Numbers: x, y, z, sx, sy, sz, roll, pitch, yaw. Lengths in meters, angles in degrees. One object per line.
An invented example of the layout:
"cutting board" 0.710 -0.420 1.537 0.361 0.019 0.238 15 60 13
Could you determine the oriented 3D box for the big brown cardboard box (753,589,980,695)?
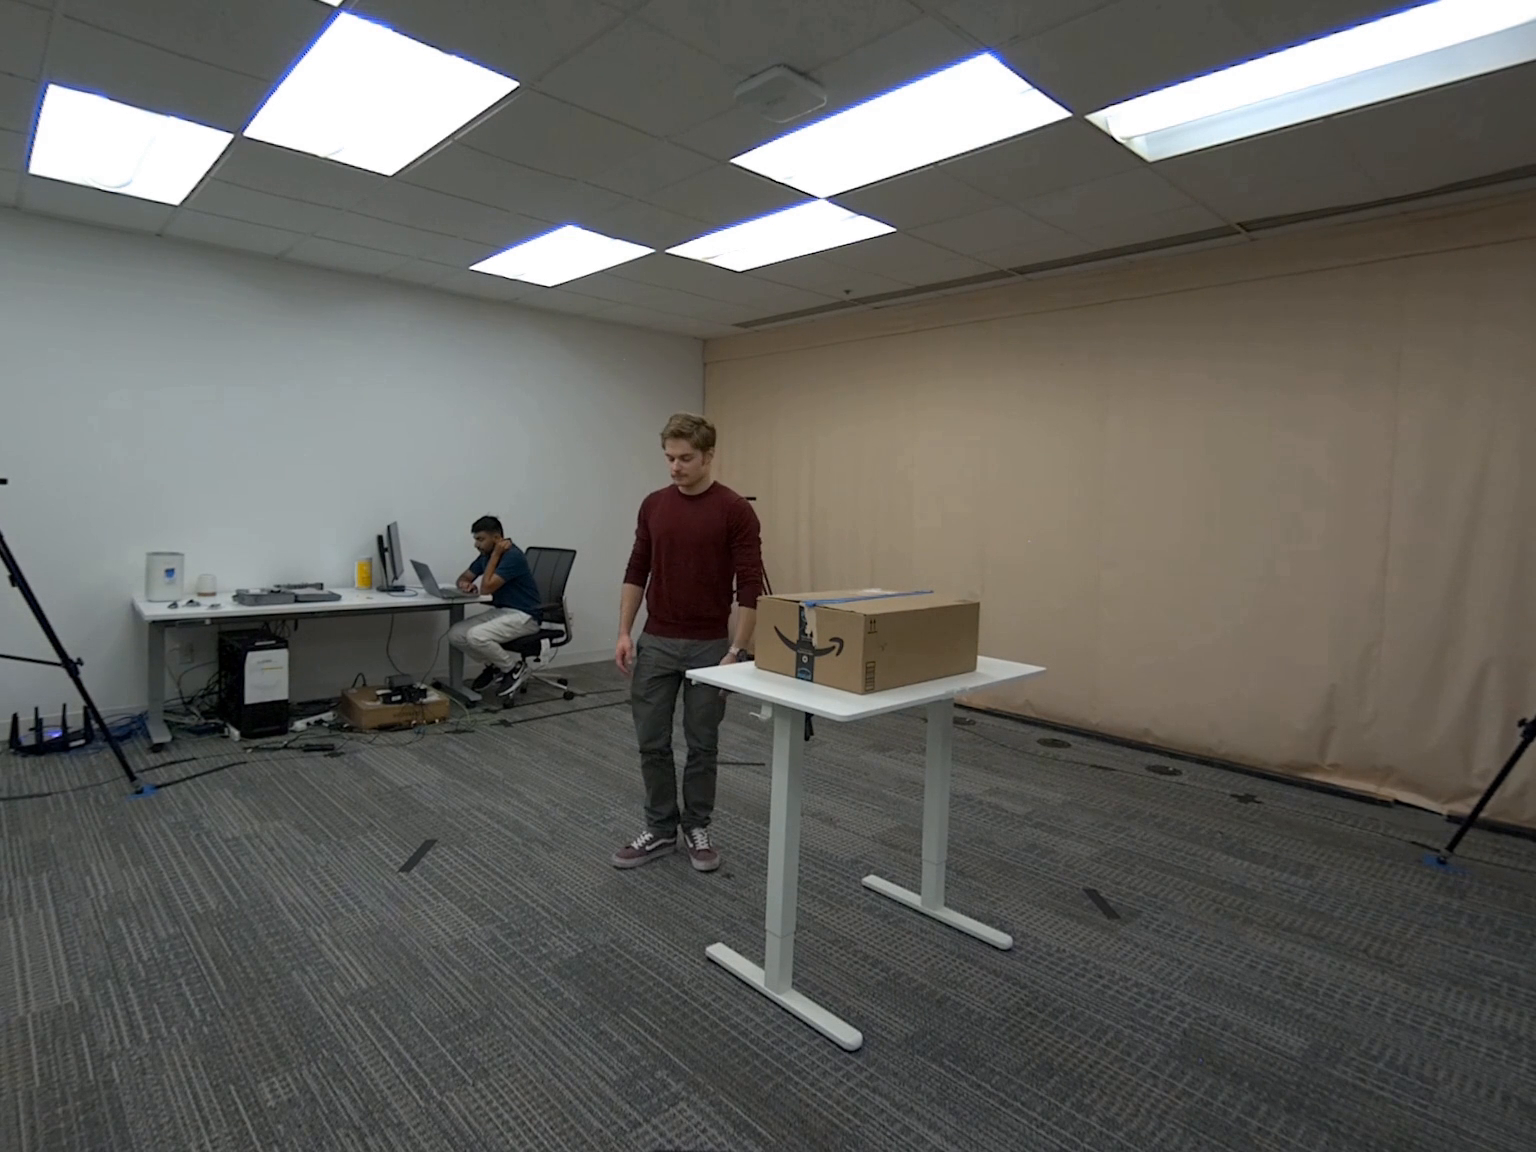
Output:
"big brown cardboard box" 0.300 0.176 2.554 0.575 0.232 0.428 -3 7 -43
